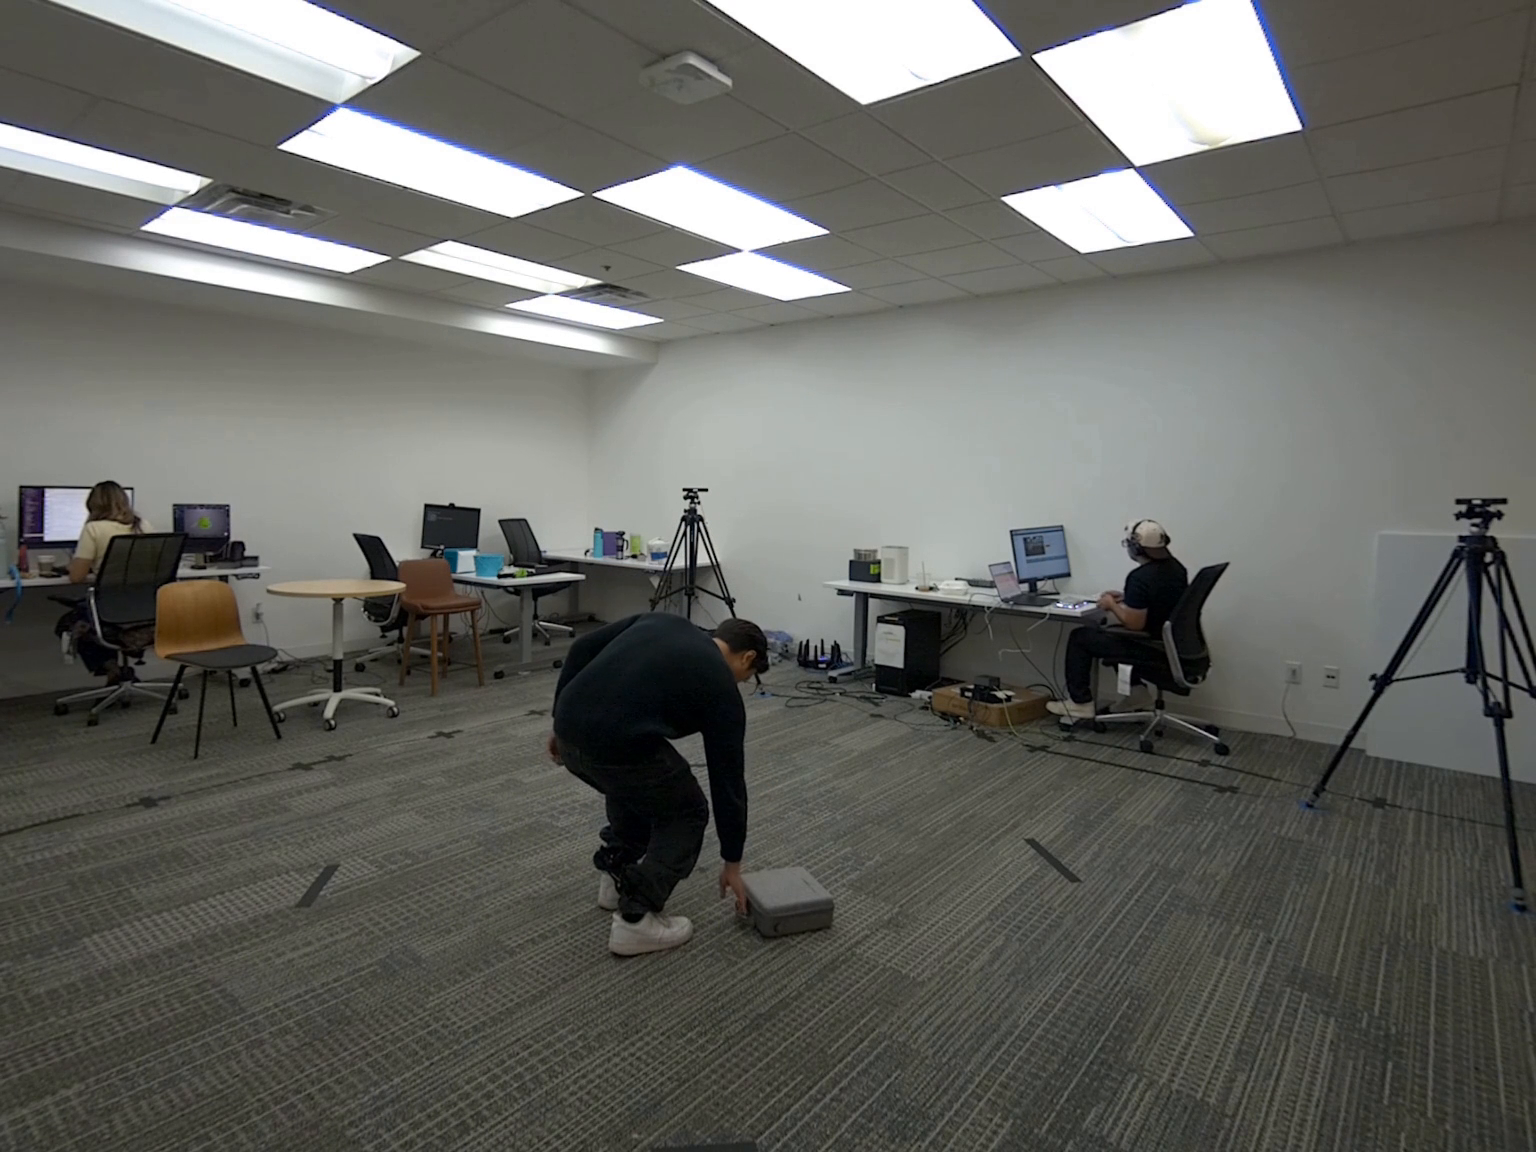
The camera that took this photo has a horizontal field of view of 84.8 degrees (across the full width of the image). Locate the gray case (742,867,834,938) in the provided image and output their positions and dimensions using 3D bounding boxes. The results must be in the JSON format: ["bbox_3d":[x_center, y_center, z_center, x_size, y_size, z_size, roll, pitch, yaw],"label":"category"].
[{"bbox_3d":[0.047,1.054,2.767,0.255,0.104,0.263,-1,7,-22],"label":"gray case"}]
